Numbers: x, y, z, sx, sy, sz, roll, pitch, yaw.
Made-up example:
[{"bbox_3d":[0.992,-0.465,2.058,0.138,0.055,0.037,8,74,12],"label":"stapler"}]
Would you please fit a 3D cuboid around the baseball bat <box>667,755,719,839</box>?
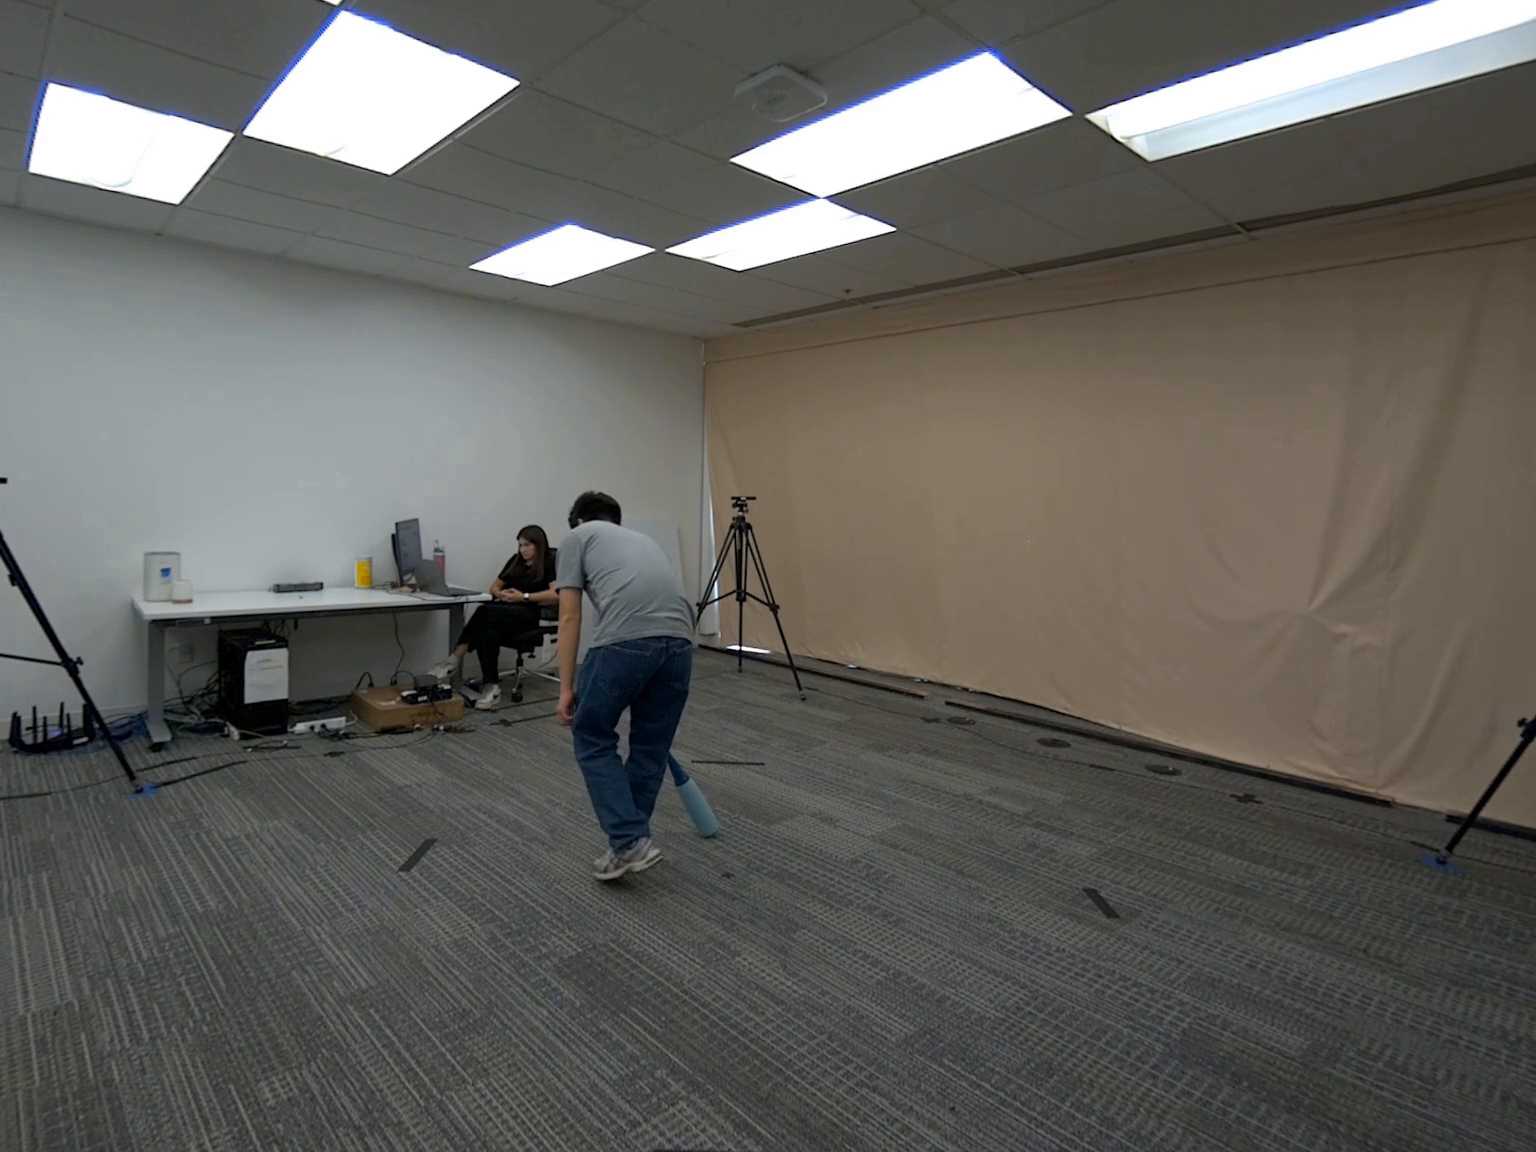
[{"bbox_3d":[-0.371,0.829,3.439,0.089,0.538,0.090,-28,8,4],"label":"baseball bat"}]
